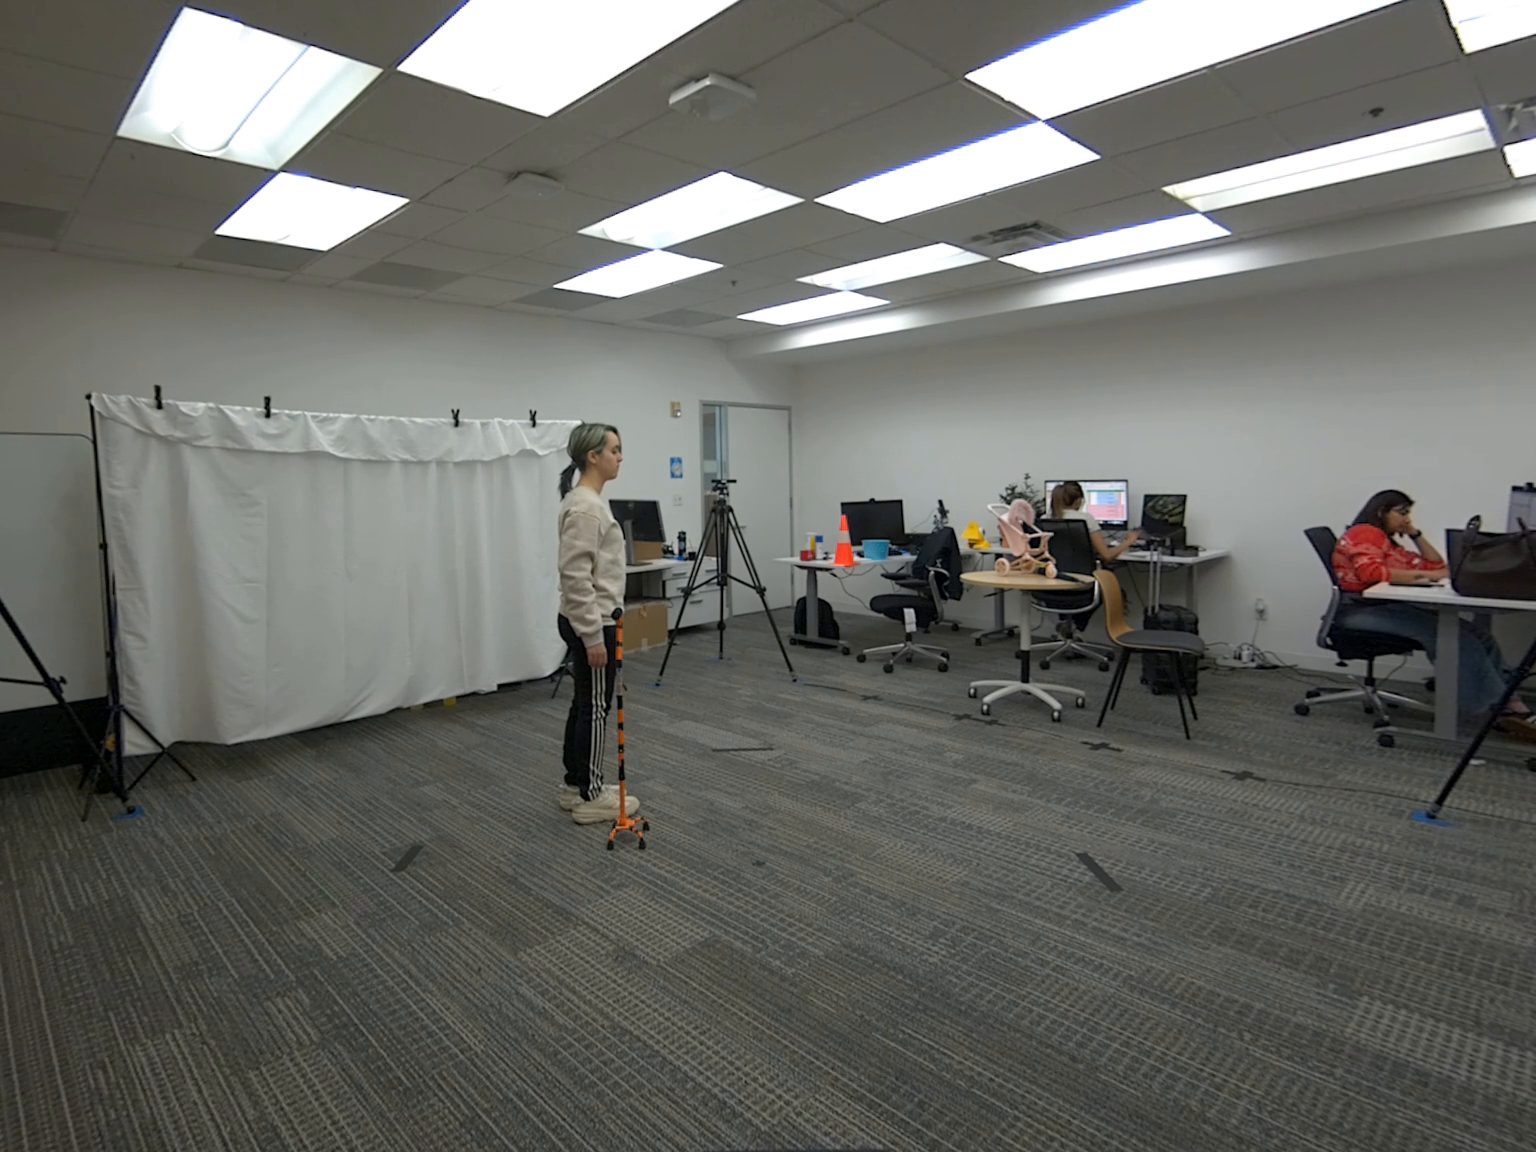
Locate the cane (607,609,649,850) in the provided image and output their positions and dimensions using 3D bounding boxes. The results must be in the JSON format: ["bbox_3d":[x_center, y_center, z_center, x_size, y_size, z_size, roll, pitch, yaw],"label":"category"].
[{"bbox_3d":[-0.554,0.581,3.320,0.151,0.905,0.207,-2,3,-2],"label":"cane"}]
